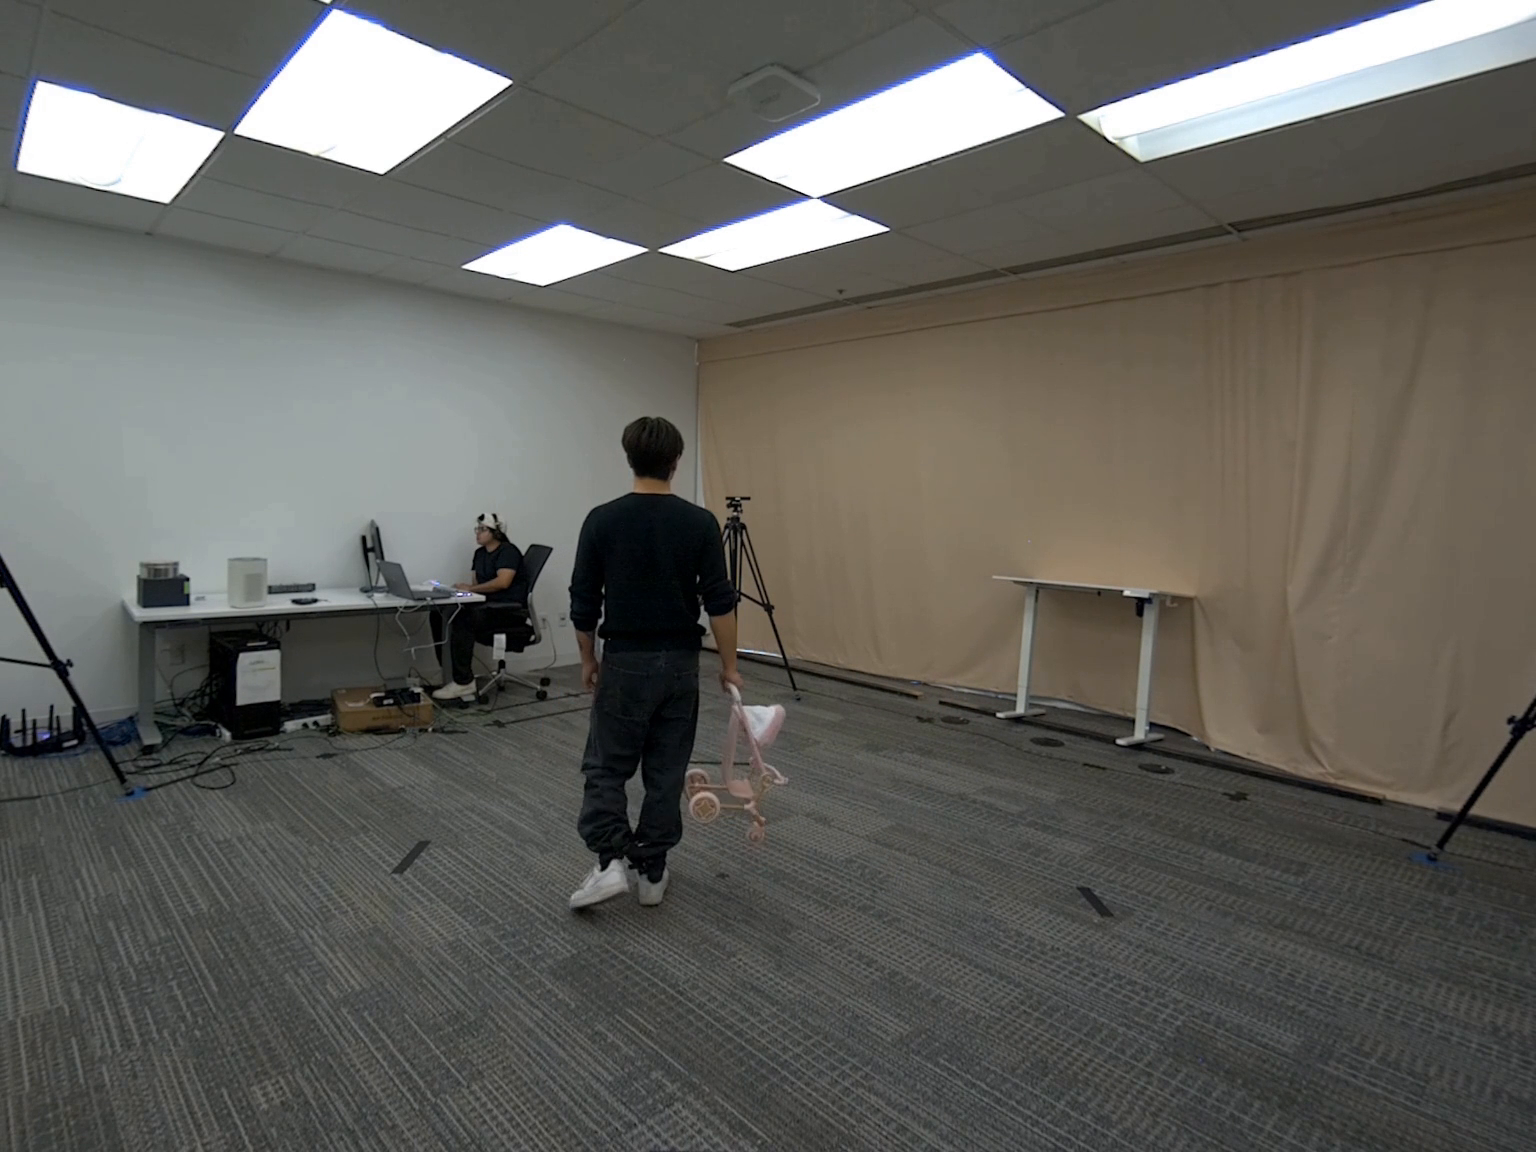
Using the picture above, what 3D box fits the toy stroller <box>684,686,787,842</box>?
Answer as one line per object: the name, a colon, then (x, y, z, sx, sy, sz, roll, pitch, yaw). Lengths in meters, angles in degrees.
toy stroller: (-0.093, 0.667, 3.004, 0.339, 0.535, 0.283, 20, -1, -6)
